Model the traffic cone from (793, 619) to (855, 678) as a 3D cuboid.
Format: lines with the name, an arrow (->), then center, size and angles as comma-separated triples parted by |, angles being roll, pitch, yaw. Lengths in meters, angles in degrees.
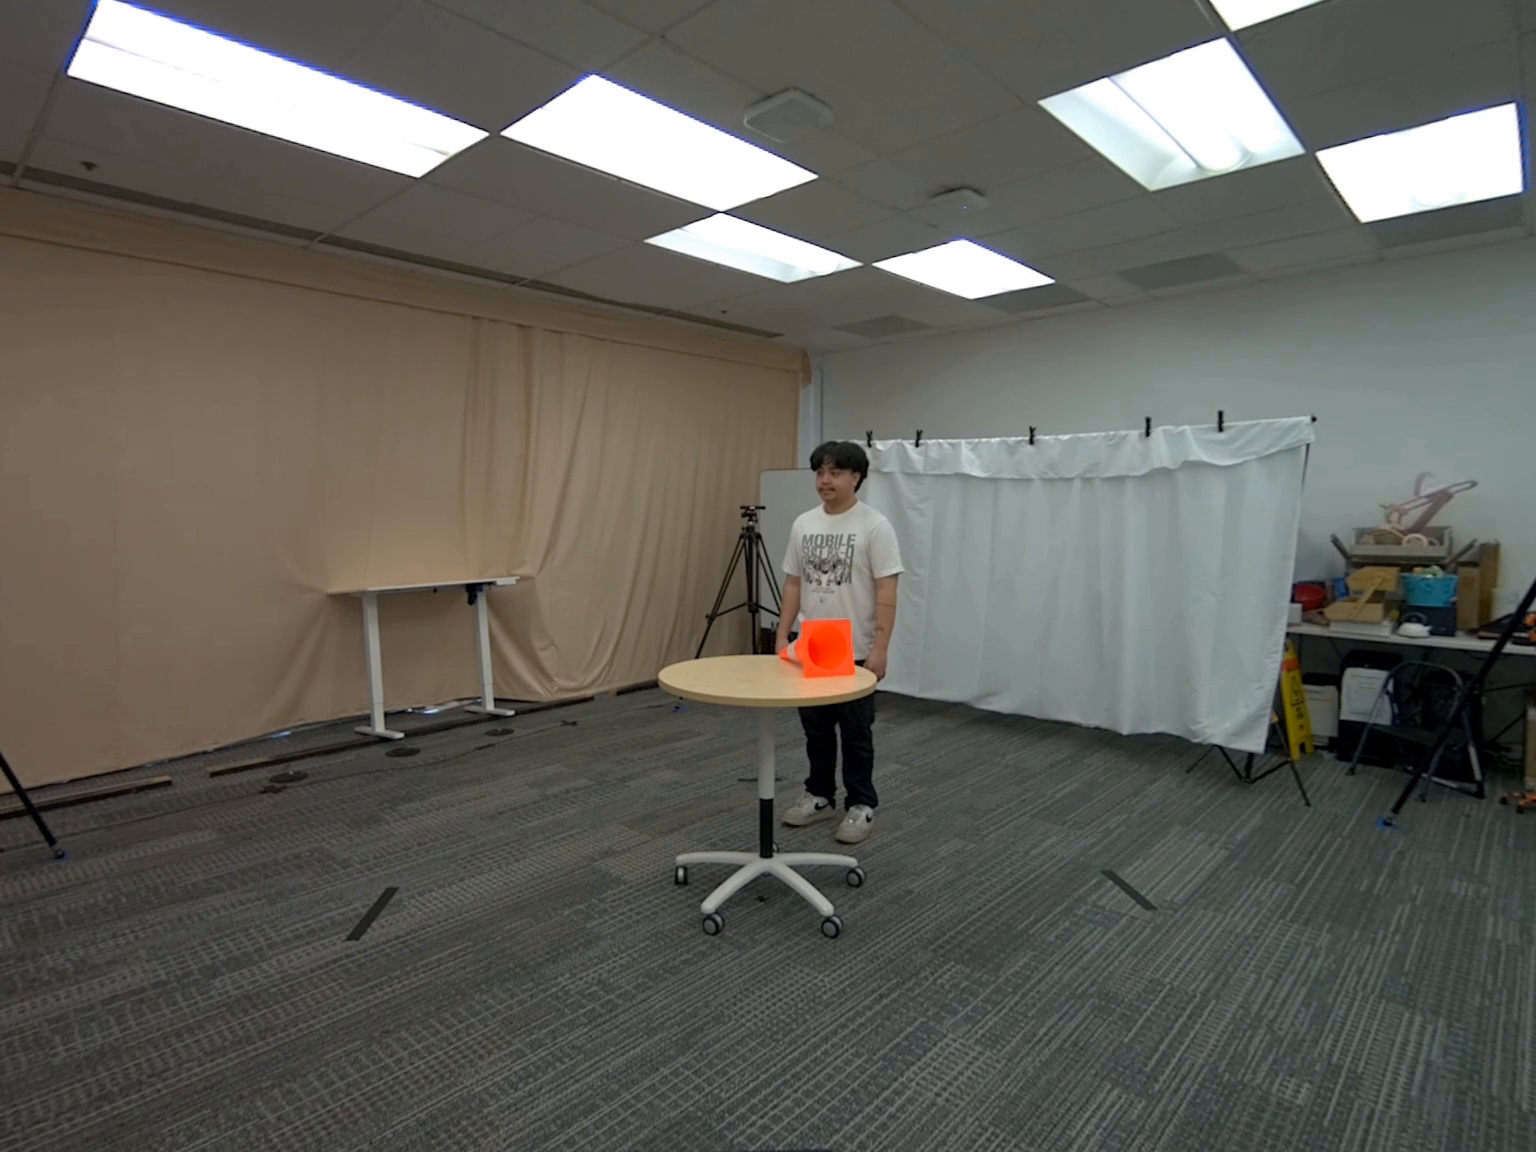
traffic cone -> 0.131, 0.281, 3.134 | 0.200, 0.204, 0.390 | -6, -7, -24
